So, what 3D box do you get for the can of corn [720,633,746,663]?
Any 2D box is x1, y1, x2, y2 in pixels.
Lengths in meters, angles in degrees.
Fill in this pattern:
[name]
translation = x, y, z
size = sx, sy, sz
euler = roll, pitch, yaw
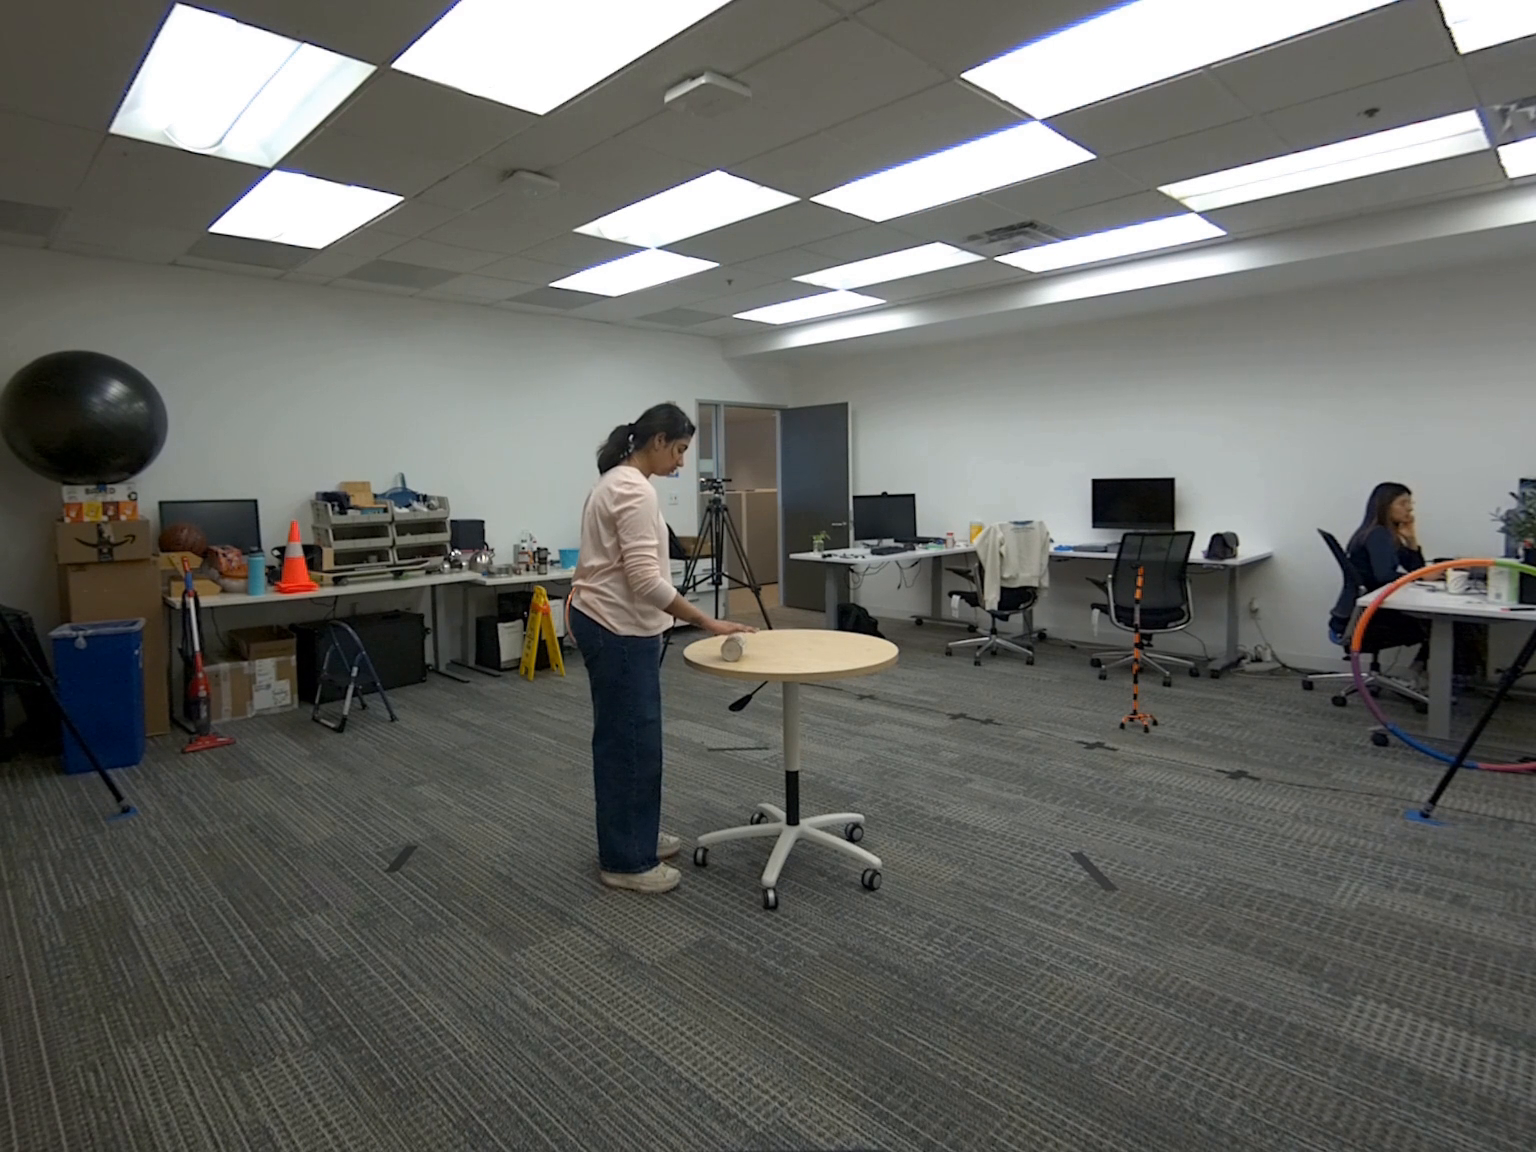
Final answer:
[can of corn]
translation = -0.116, 0.243, 2.926
size = 0.074, 0.074, 0.111
euler = -1, 6, 4
